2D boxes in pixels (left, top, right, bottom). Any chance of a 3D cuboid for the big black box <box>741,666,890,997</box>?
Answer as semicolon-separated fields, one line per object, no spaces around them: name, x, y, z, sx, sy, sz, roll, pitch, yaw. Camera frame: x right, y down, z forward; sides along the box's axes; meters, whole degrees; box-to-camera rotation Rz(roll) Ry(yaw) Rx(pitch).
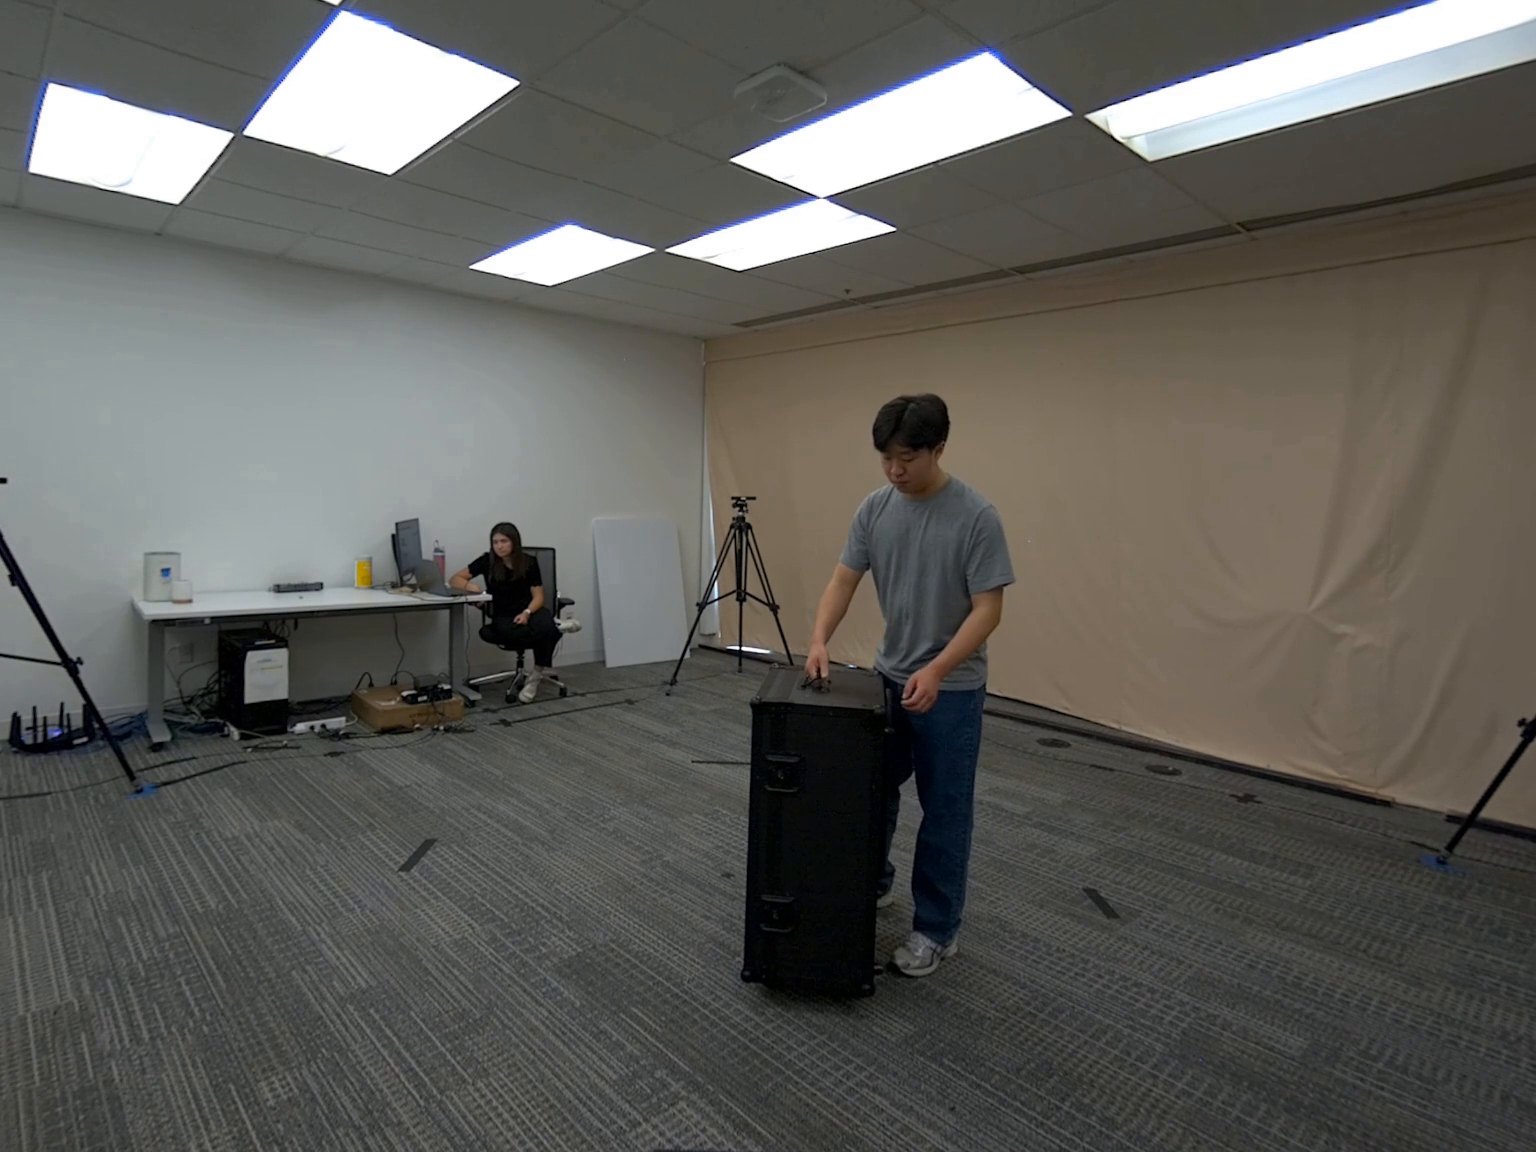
big black box;0.153;0.748;2.482;0.399;0.859;0.518;3;3;8
